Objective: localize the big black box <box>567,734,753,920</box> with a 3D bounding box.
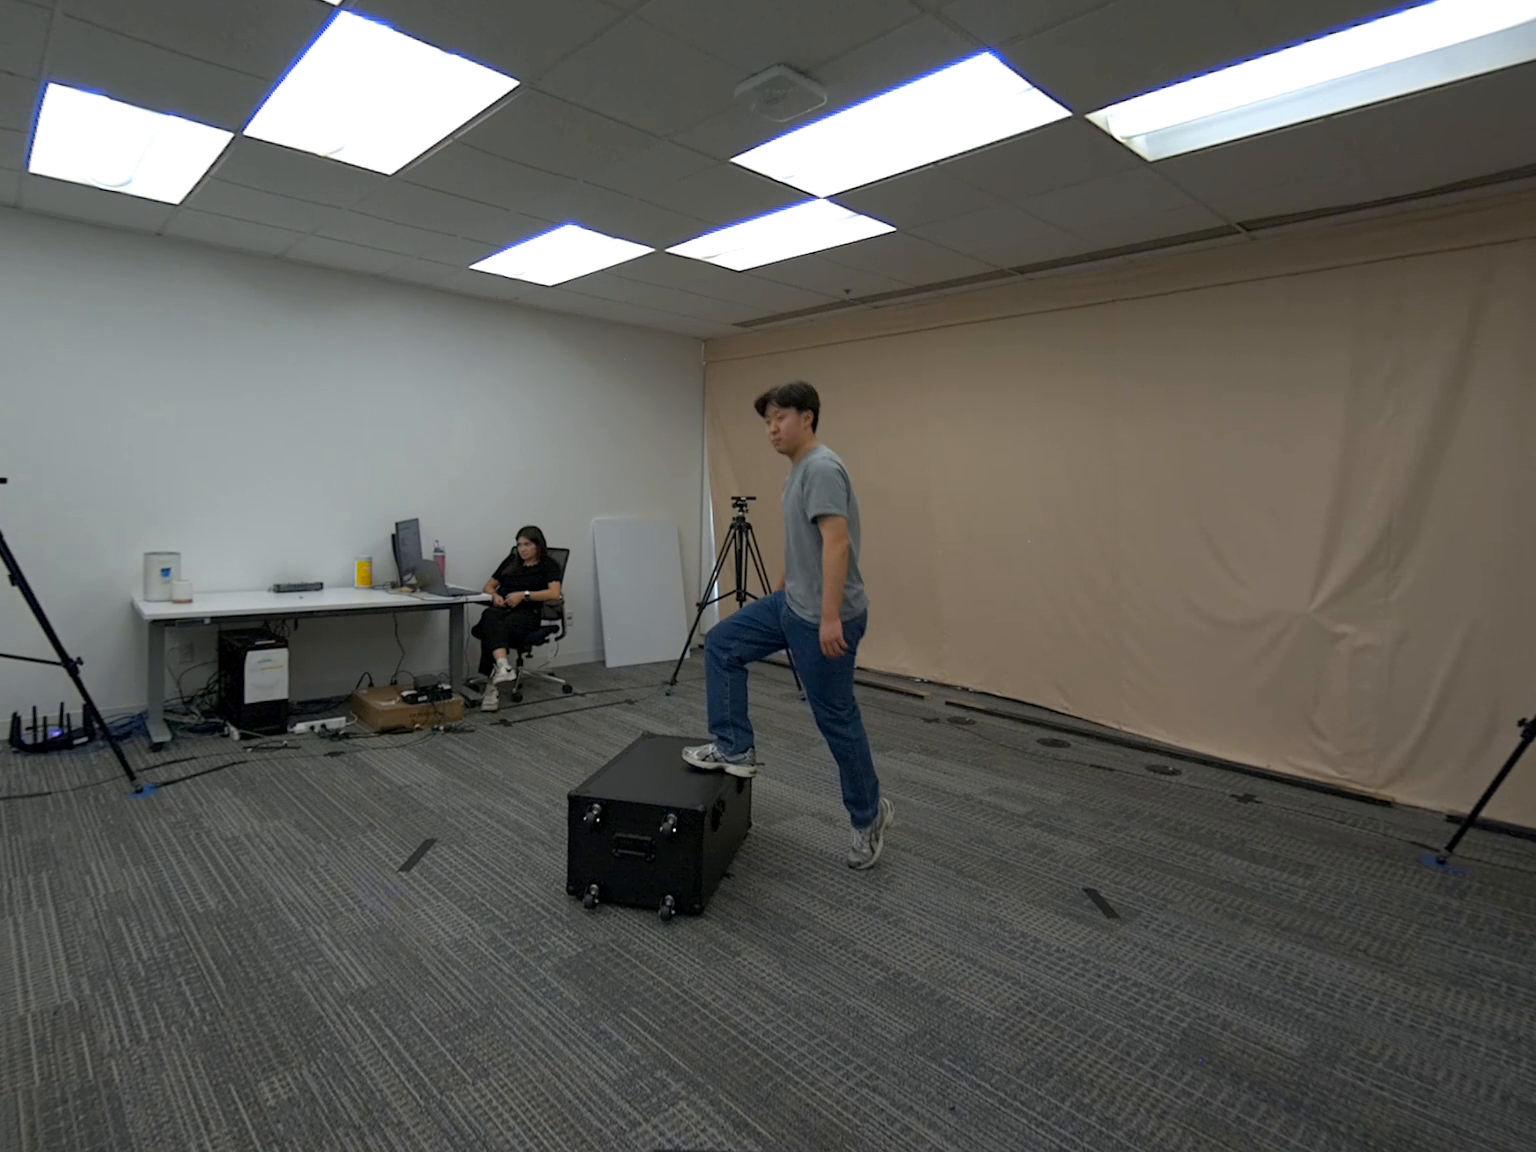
[{"bbox_3d":[-0.388,0.904,3.154,0.527,0.395,0.855,3,5,12],"label":"big black box"}]
